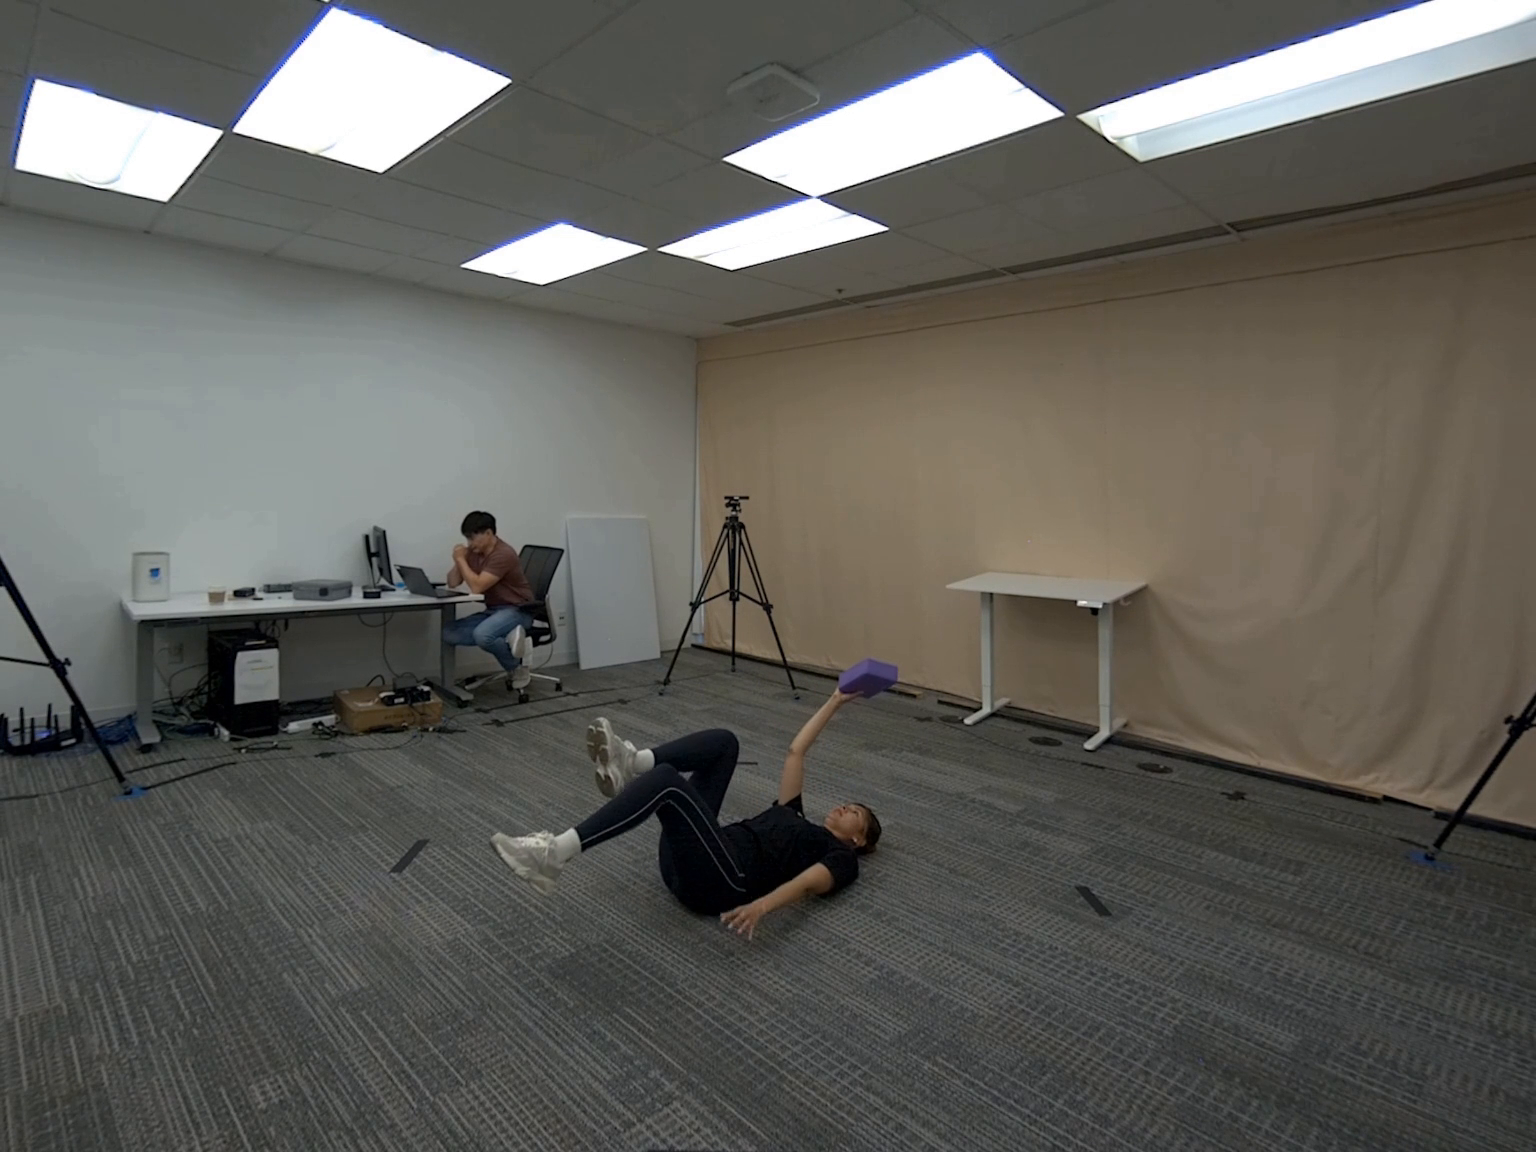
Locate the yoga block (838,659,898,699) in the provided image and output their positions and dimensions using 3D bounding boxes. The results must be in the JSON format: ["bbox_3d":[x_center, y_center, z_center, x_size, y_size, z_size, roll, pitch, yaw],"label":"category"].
[{"bbox_3d":[0.386,0.407,3.372,0.147,0.077,0.228,16,-30,-14],"label":"yoga block"}]
